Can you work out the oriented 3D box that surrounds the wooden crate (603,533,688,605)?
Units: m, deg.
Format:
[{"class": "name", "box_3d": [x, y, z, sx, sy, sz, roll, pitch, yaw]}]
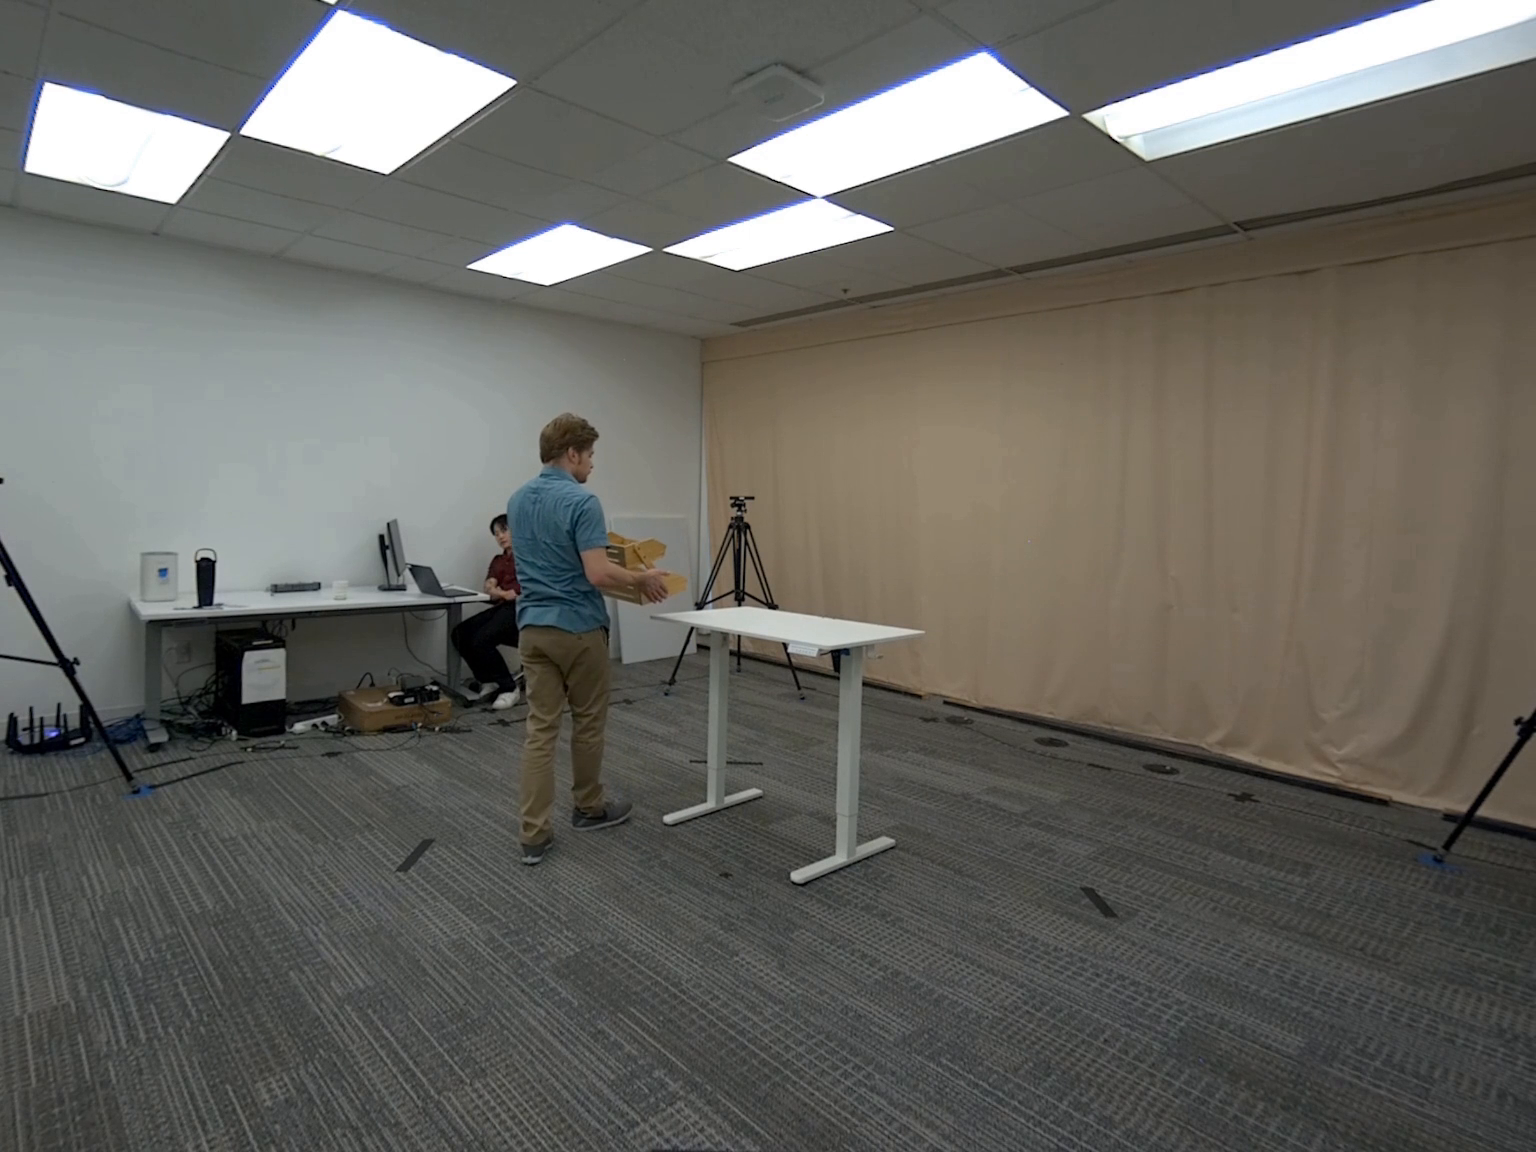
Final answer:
[{"class": "wooden crate", "box_3d": [-0.572, -0.053, 3.554, 0.297, 0.270, 0.333, -19, 19, -41]}]
